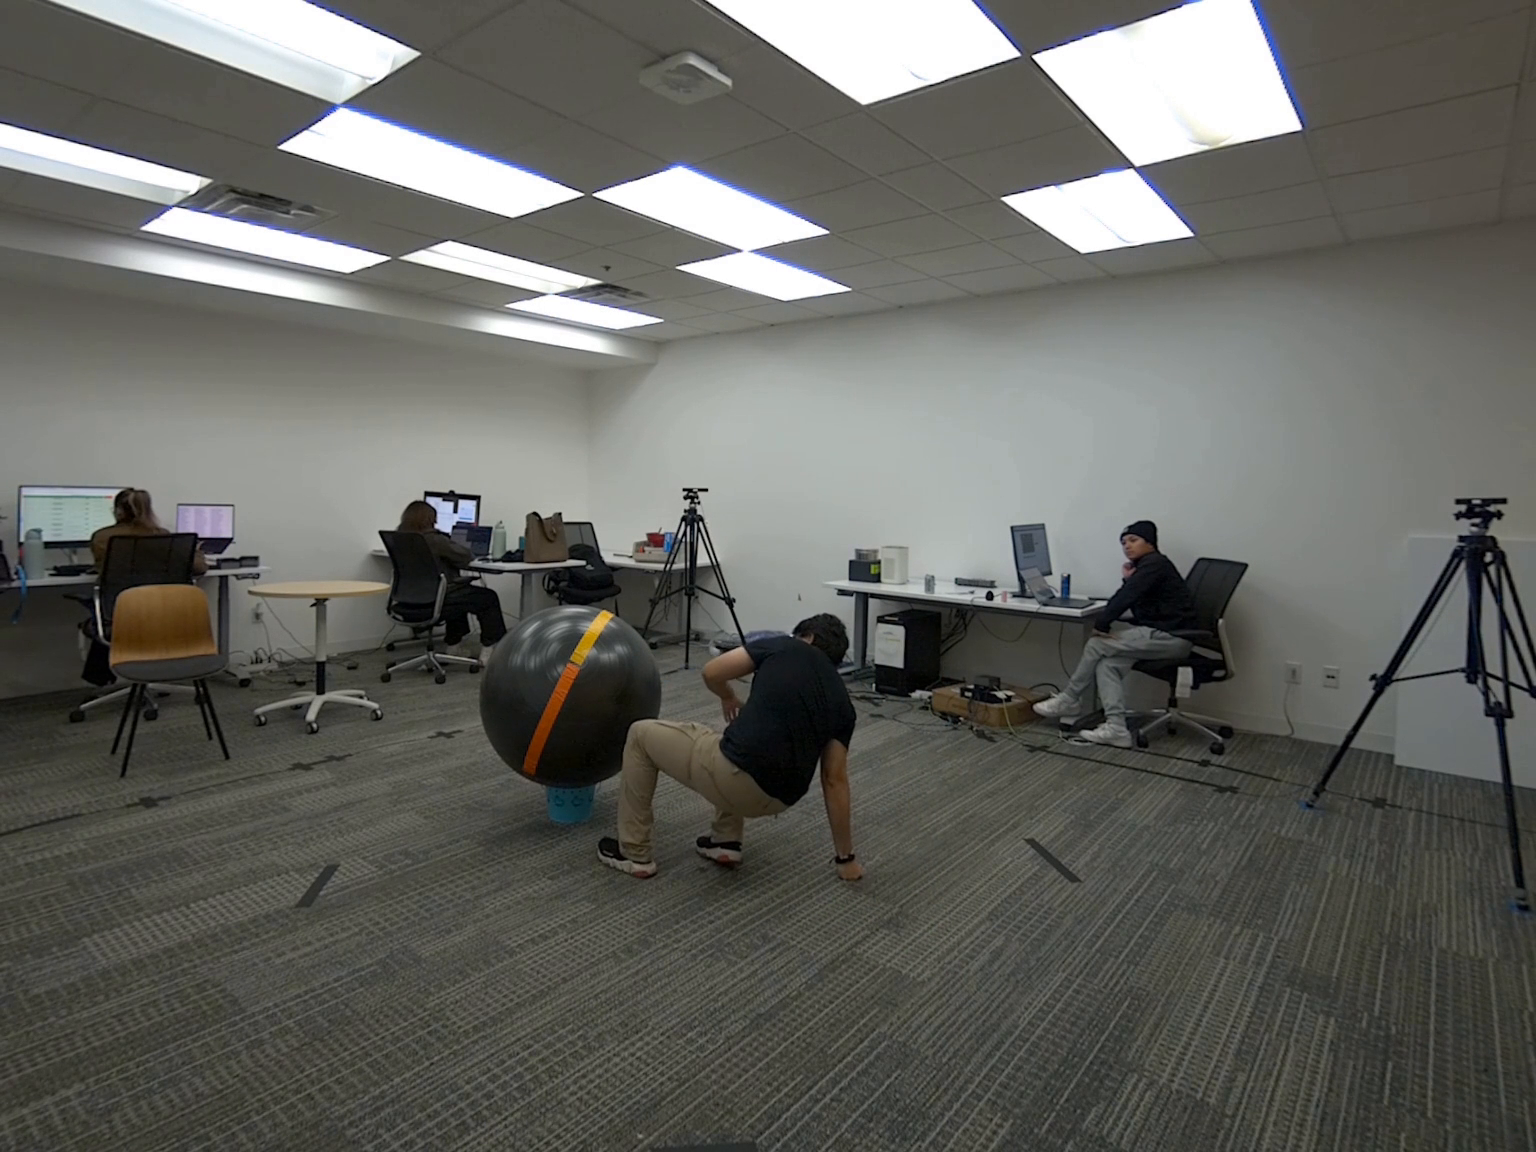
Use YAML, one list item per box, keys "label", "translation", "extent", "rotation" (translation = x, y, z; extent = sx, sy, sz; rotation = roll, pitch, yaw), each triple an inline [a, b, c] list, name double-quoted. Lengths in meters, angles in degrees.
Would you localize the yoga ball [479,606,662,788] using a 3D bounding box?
- label: "yoga ball"
  translation: [-0.843, 0.506, 3.592]
  extent: [0.757, 0.755, 0.762]
  rotation: [1, 4, -2]
